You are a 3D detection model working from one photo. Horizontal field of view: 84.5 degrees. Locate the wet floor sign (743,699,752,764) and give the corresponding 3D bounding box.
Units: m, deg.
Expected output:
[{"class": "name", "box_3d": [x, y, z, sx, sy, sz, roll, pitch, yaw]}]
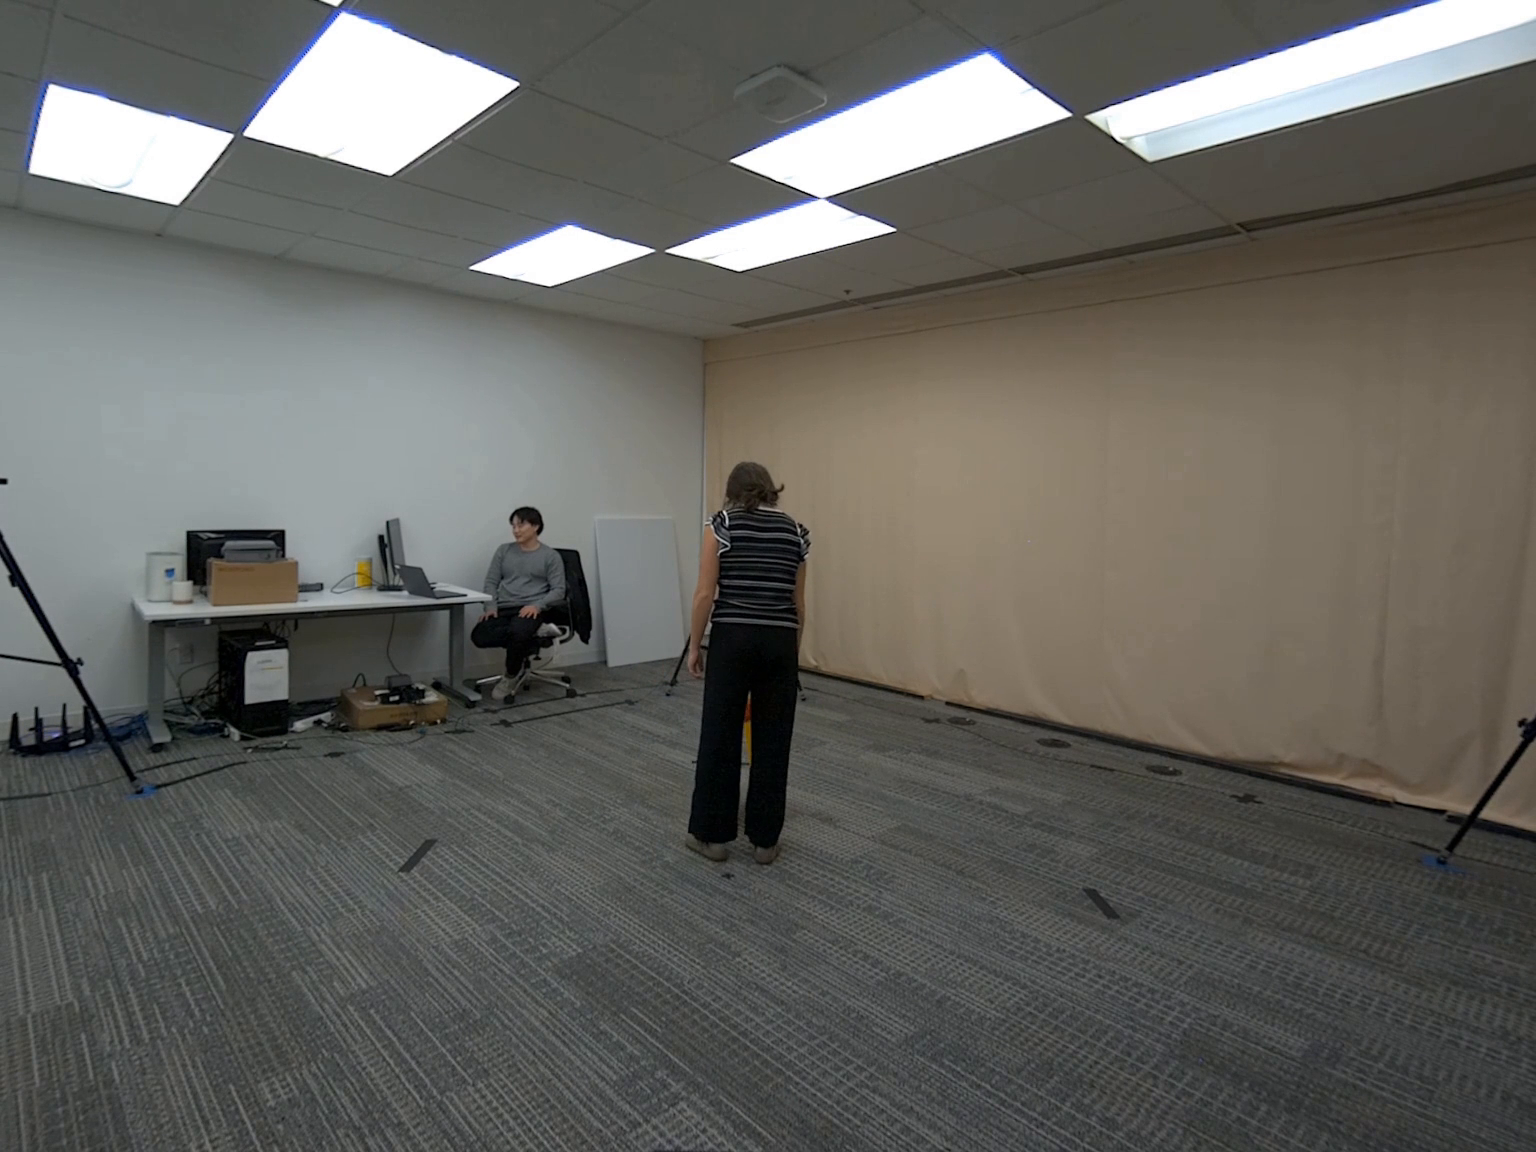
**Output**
[{"class": "wet floor sign", "box_3d": [-0.126, 0.737, 3.662, 0.287, 0.645, 0.285, 2, 3, -11]}]
